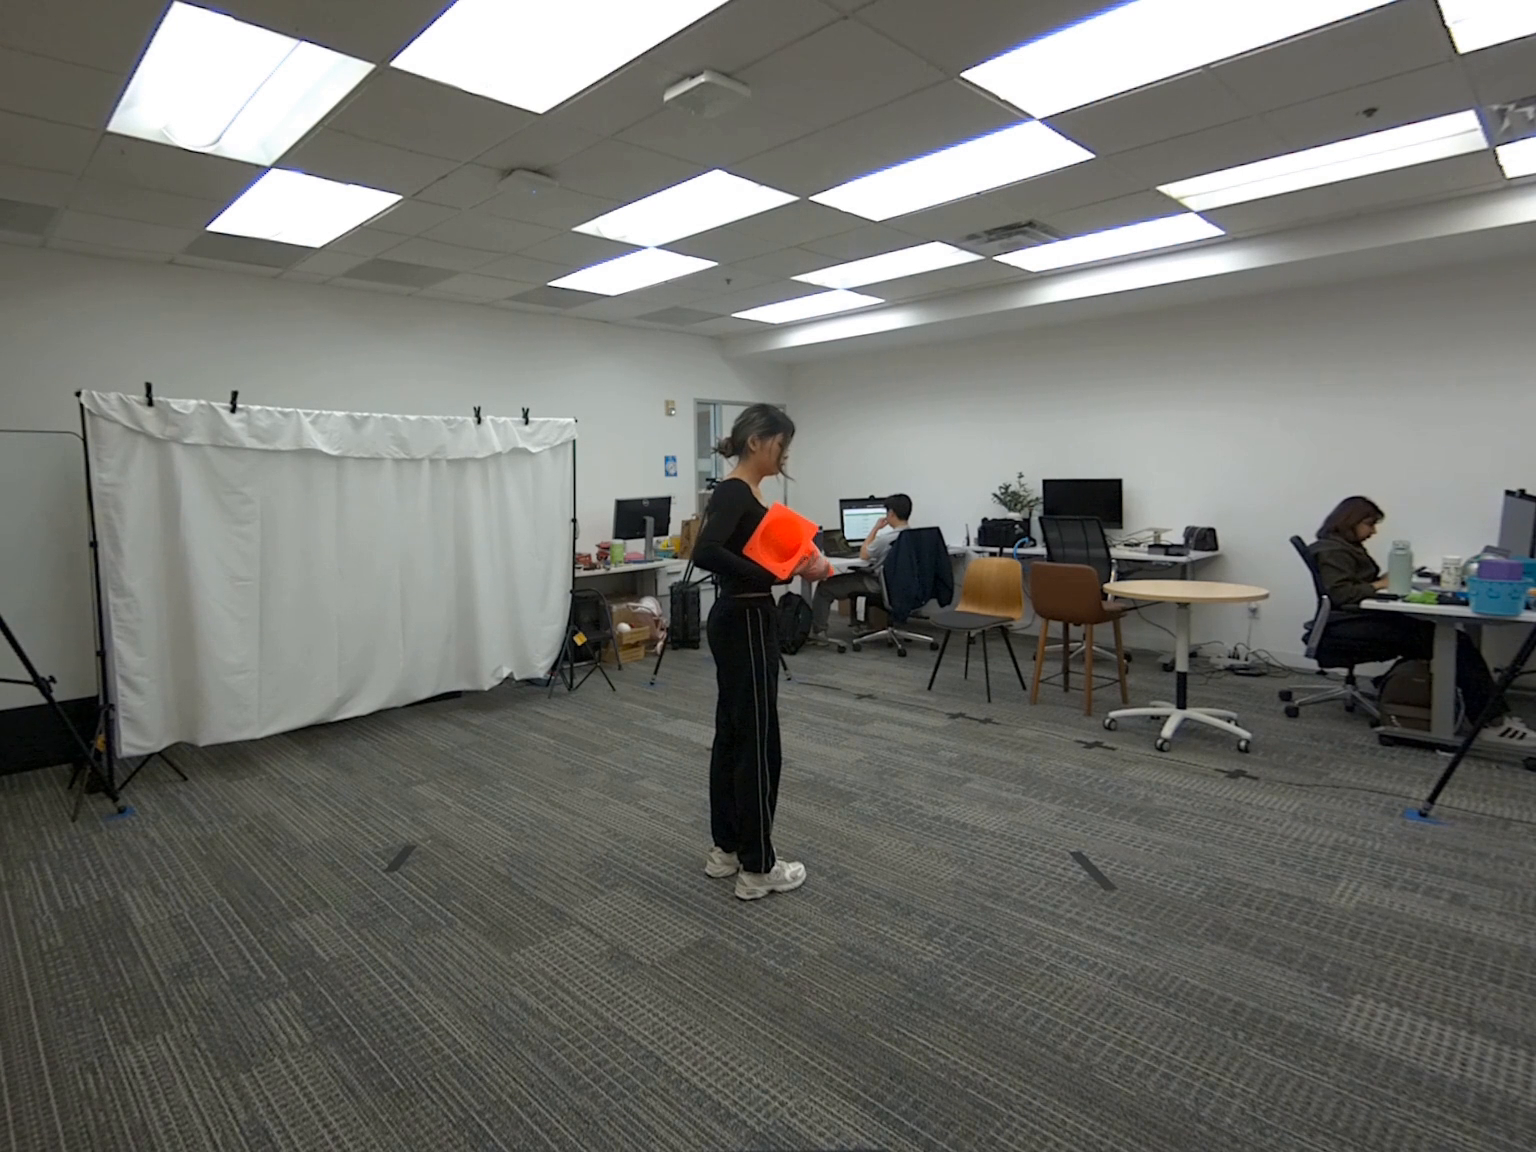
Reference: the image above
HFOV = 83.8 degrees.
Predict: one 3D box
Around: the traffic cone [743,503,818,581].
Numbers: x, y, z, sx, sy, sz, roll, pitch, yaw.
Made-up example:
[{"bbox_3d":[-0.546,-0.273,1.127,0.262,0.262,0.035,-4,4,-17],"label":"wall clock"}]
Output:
[{"bbox_3d":[0.123,-0.053,2.845,0.213,0.203,0.369,31,-1,35],"label":"traffic cone"}]
